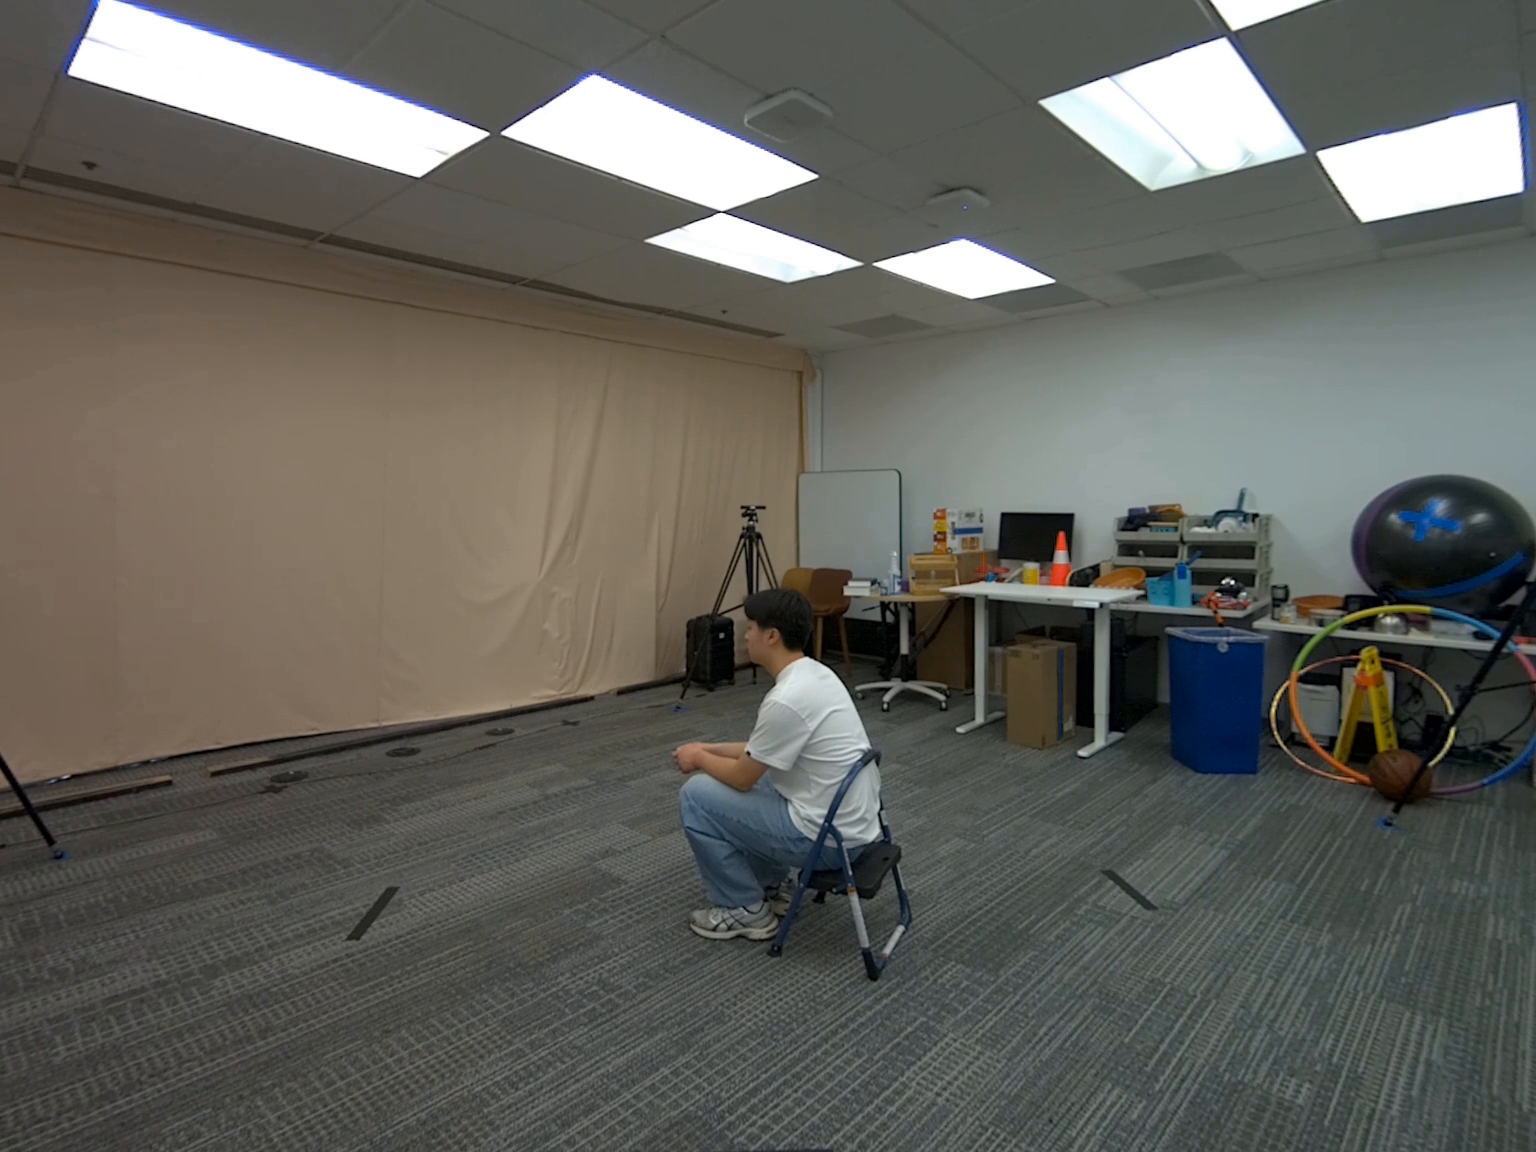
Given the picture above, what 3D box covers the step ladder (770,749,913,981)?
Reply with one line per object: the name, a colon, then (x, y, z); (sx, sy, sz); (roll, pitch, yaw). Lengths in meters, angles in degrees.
step ladder: (0.252, 0.869, 2.694); (0.358, 0.604, 0.420); (2, 5, 26)
